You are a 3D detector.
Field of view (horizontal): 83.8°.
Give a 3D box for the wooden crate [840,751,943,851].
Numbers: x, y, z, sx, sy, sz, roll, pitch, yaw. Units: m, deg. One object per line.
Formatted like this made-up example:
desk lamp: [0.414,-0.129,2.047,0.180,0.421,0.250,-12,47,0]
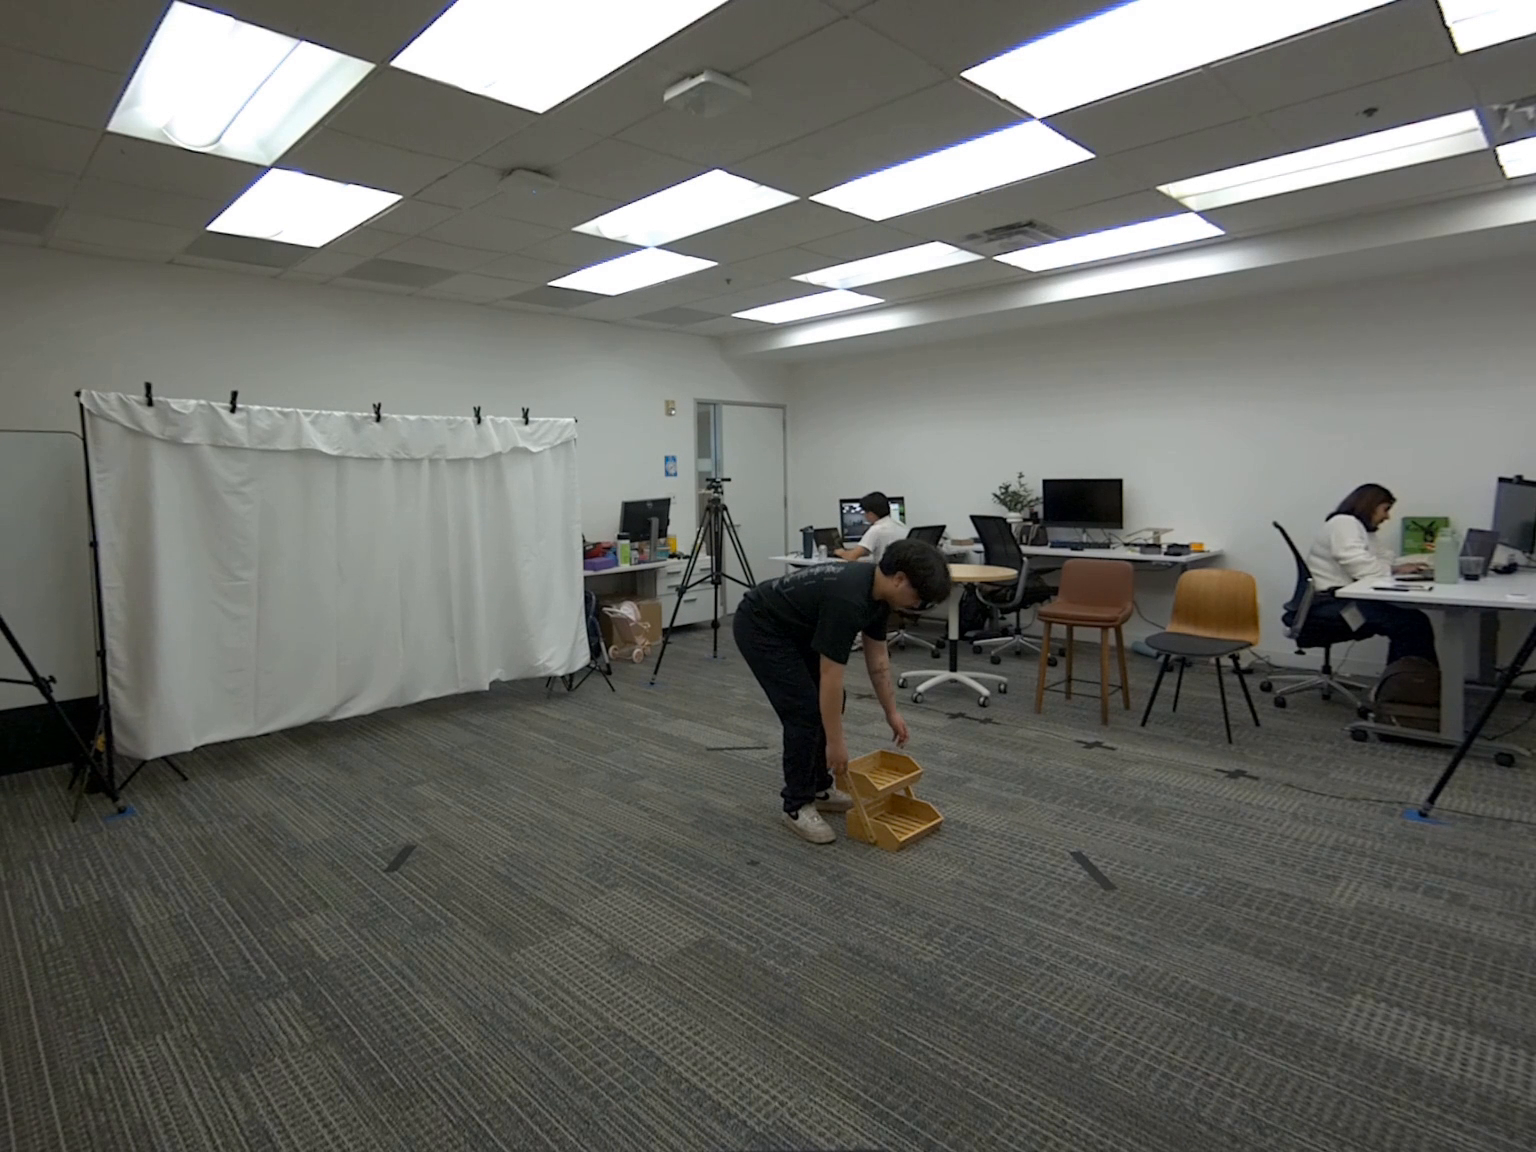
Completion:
wooden crate: [0.479,0.870,3.362,0.311,0.272,0.316,2,6,44]
